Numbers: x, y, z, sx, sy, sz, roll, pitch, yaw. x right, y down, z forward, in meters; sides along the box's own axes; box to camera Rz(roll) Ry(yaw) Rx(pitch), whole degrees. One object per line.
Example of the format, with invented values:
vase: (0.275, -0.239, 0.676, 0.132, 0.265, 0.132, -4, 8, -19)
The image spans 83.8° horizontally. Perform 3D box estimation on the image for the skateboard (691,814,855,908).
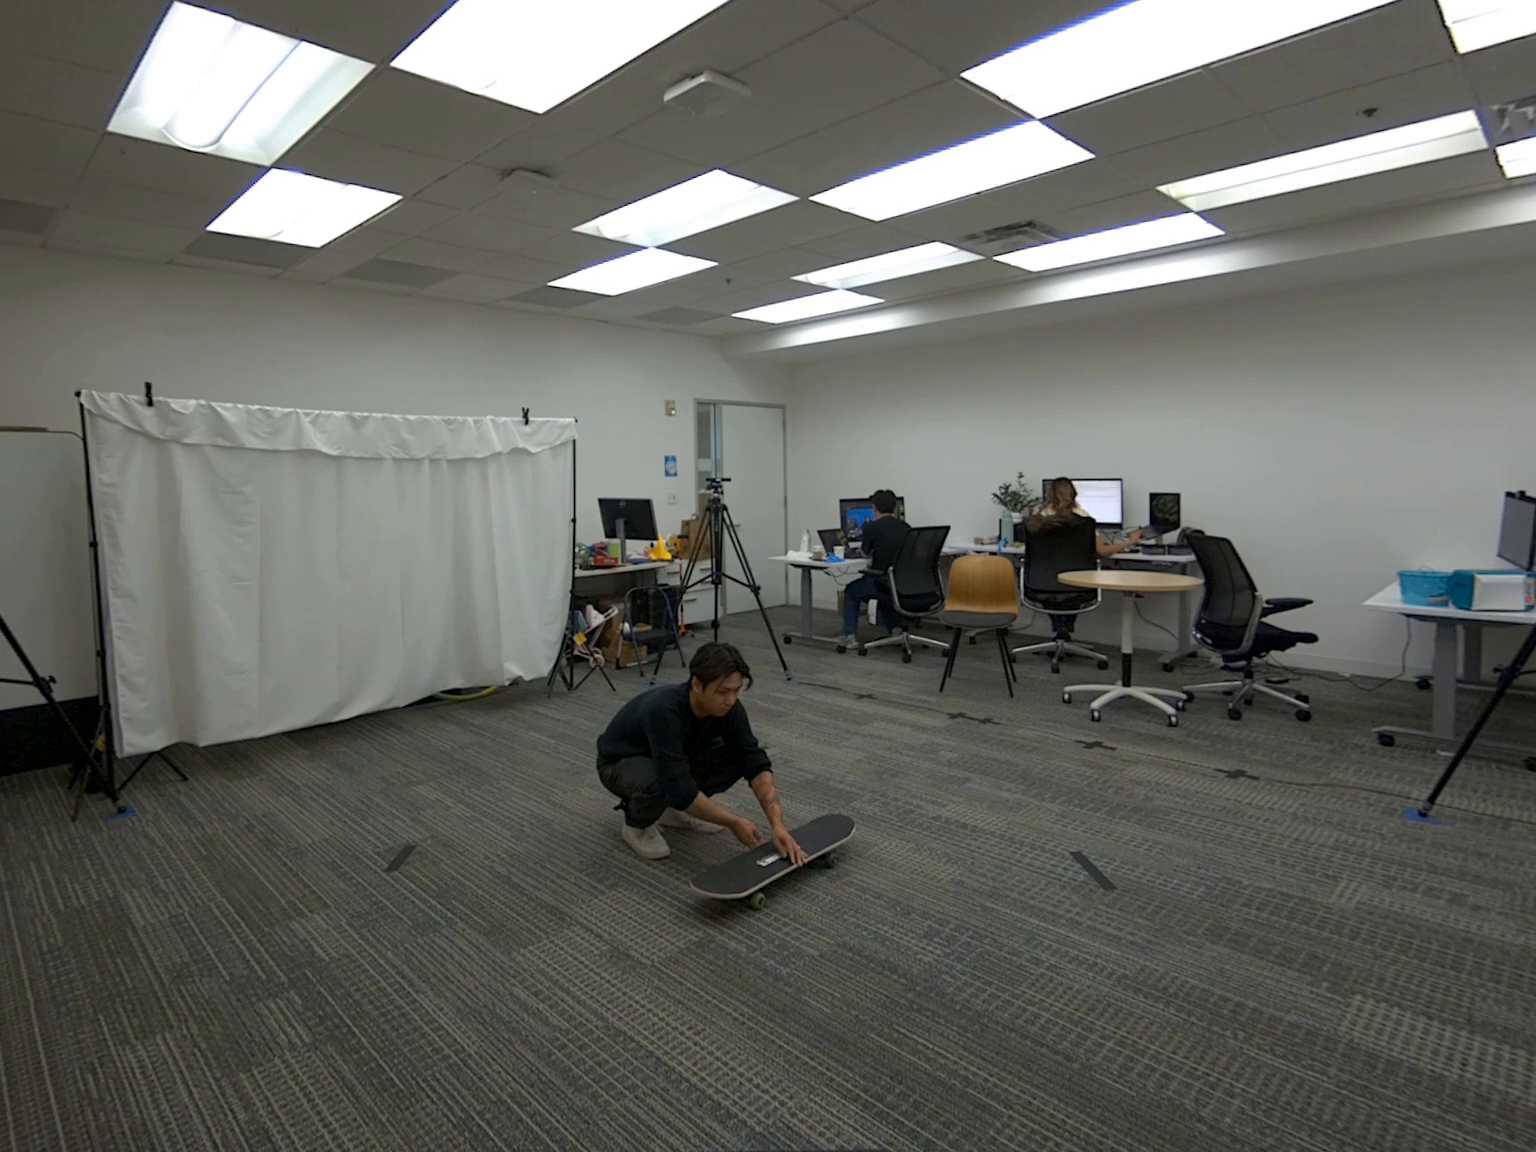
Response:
skateboard: (0.037, 0.997, 2.972, 0.199, 0.110, 0.765, 4, 8, 42)
